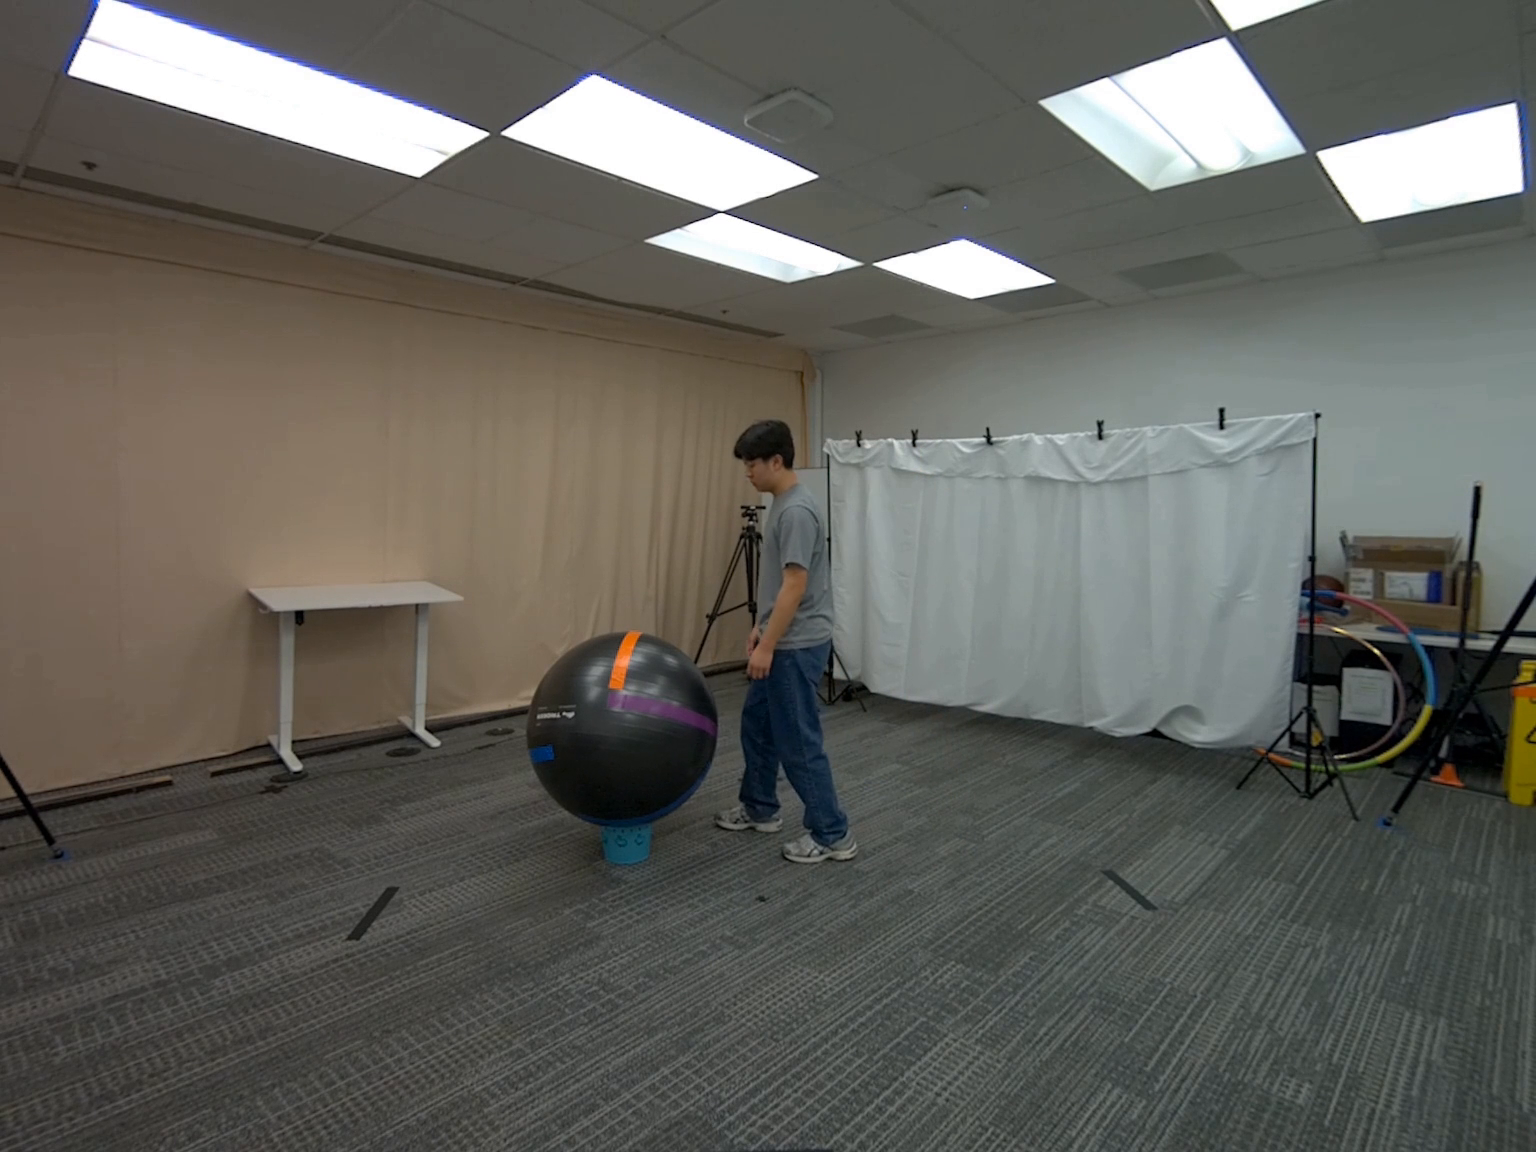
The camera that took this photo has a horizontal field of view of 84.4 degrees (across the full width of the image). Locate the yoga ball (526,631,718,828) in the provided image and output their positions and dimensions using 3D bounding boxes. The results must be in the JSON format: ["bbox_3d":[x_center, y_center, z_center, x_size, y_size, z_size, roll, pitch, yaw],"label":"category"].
[{"bbox_3d":[-0.583,0.608,3.364,0.757,0.756,0.761,0,4,-2],"label":"yoga ball"}]
